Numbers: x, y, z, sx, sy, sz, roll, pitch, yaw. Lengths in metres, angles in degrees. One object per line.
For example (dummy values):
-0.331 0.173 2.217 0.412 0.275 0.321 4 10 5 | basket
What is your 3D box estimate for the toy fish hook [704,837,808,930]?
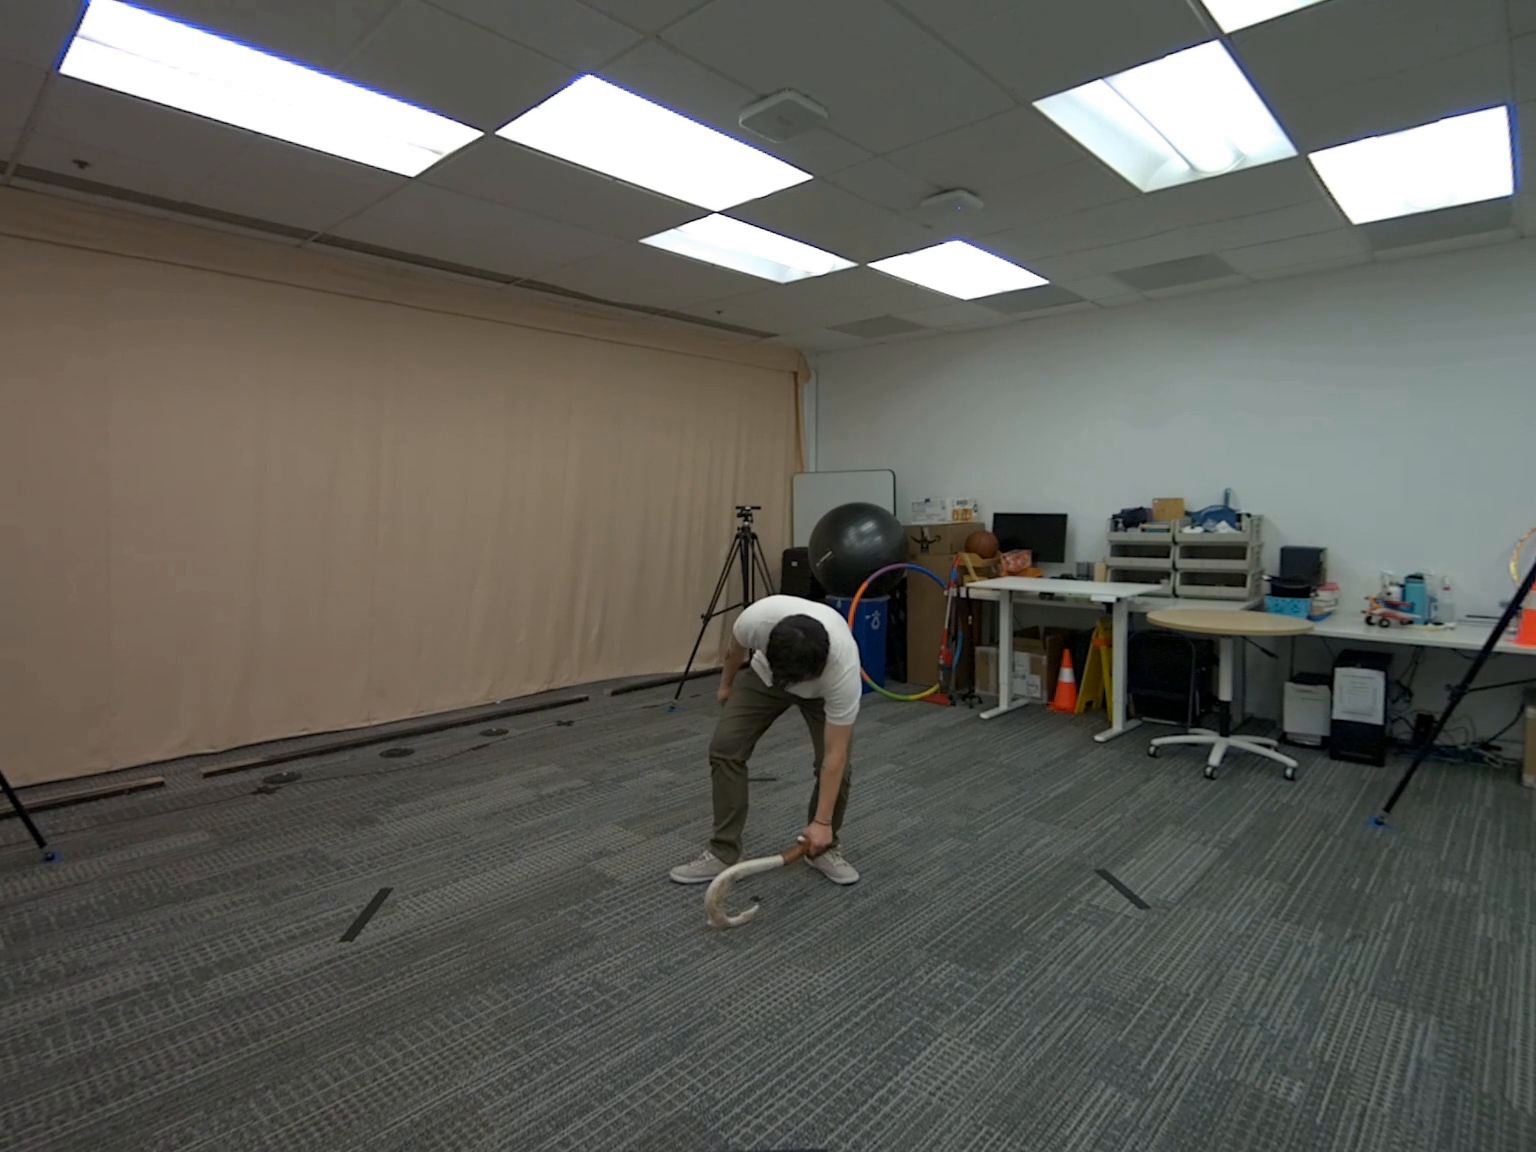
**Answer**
0.010 1.018 2.837 0.496 0.221 0.050 -17 25 -28 | toy fish hook
